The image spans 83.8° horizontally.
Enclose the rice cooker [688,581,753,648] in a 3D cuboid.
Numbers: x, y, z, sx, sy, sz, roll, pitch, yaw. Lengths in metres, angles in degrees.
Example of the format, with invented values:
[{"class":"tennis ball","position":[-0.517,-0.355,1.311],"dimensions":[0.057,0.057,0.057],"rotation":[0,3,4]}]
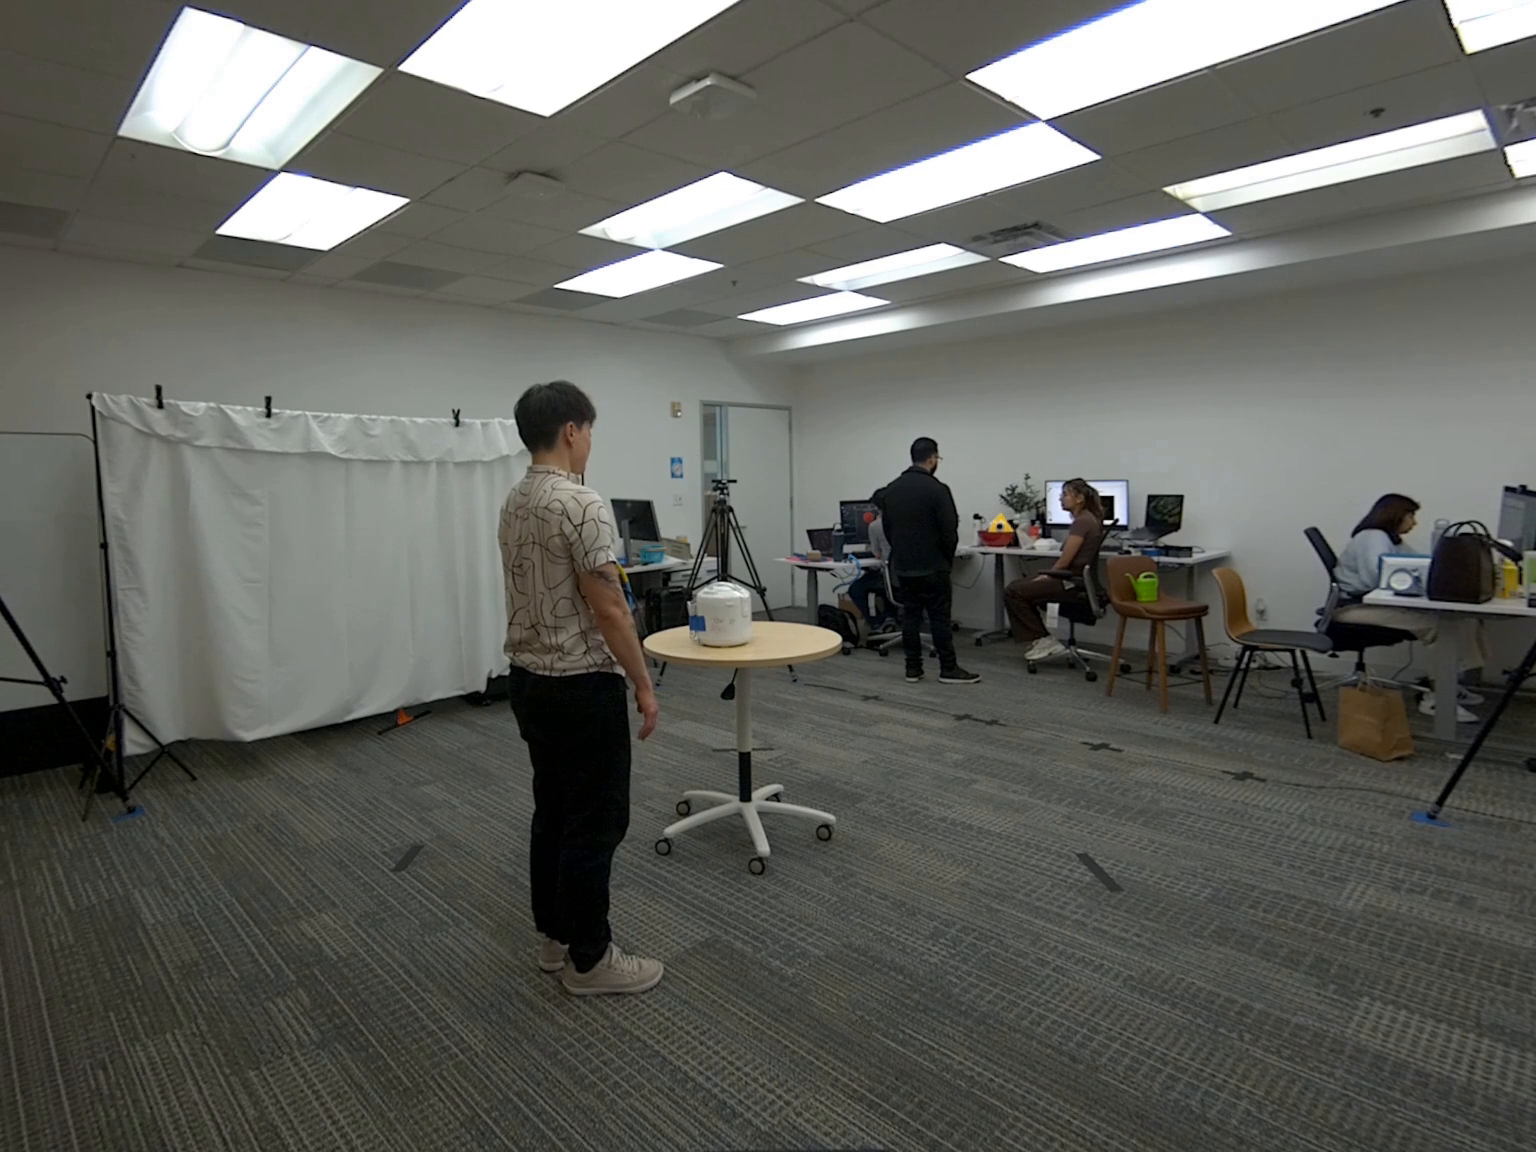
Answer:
[{"class":"rice cooker","position":[-0.166,0.139,3.227],"dimensions":[0.227,0.232,0.212],"rotation":[2,7,38]}]
